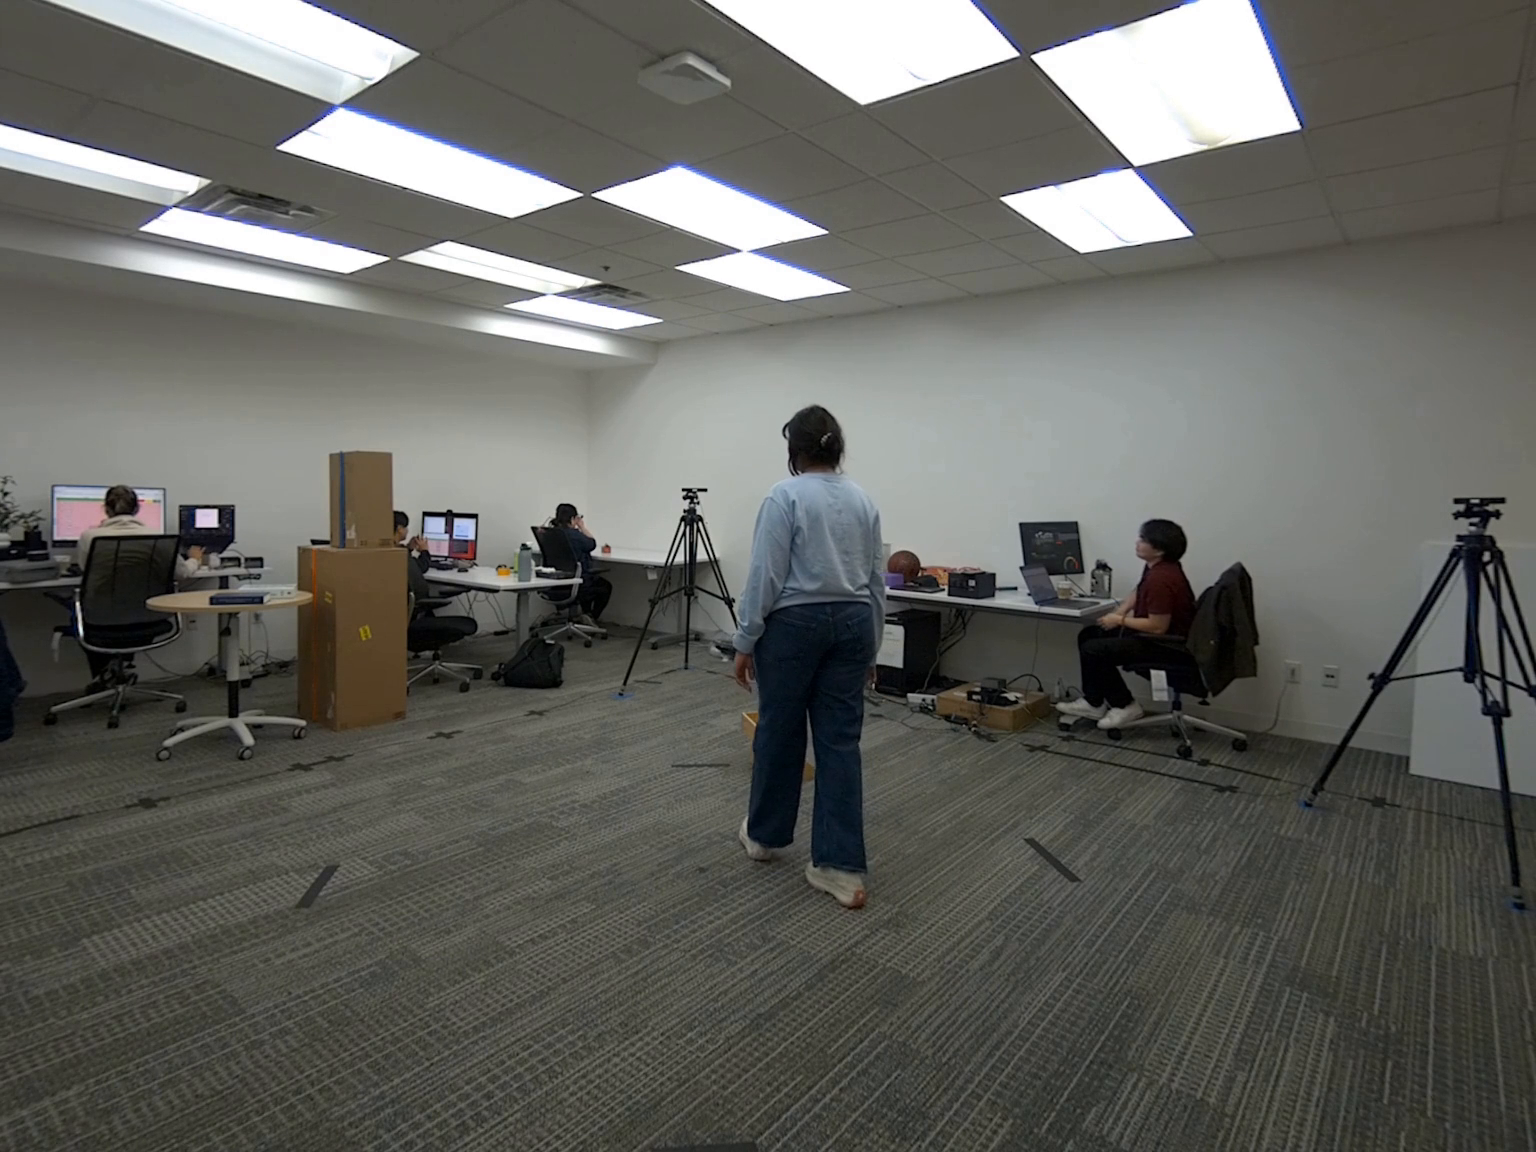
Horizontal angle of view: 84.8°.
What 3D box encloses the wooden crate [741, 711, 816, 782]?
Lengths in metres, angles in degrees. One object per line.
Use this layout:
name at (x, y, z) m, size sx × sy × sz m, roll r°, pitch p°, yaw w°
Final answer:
wooden crate at (0.052, 0.828, 4.234) m, size 0.297 × 0.272 × 0.331 m, roll -1°, pitch 5°, yaw -16°
